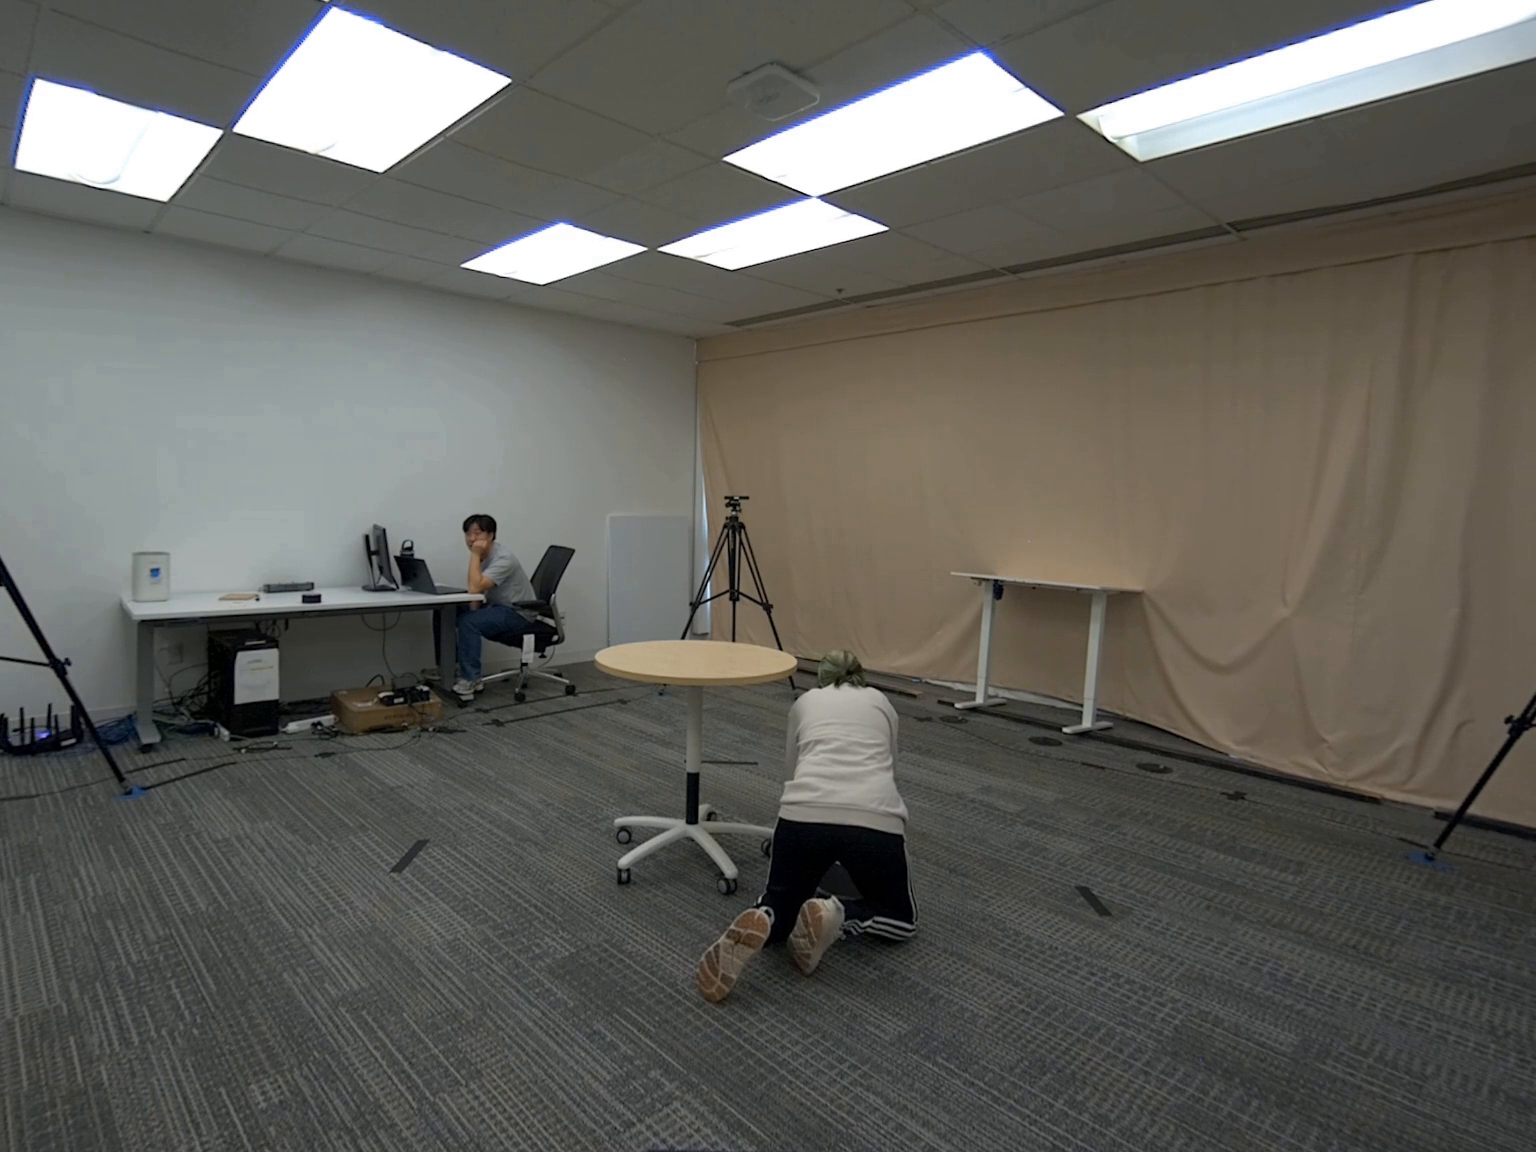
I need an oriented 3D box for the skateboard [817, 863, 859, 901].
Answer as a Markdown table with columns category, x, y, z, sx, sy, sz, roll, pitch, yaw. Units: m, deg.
| category | x | y | z | sx | sy | sz | roll | pitch | yaw |
| --- | --- | --- | --- | --- | --- | --- | --- | --- | --- |
| skateboard | 0.259 | 1.062 | 3.119 | 0.194 | 0.110 | 0.786 | 4 | 6 | 2 |
